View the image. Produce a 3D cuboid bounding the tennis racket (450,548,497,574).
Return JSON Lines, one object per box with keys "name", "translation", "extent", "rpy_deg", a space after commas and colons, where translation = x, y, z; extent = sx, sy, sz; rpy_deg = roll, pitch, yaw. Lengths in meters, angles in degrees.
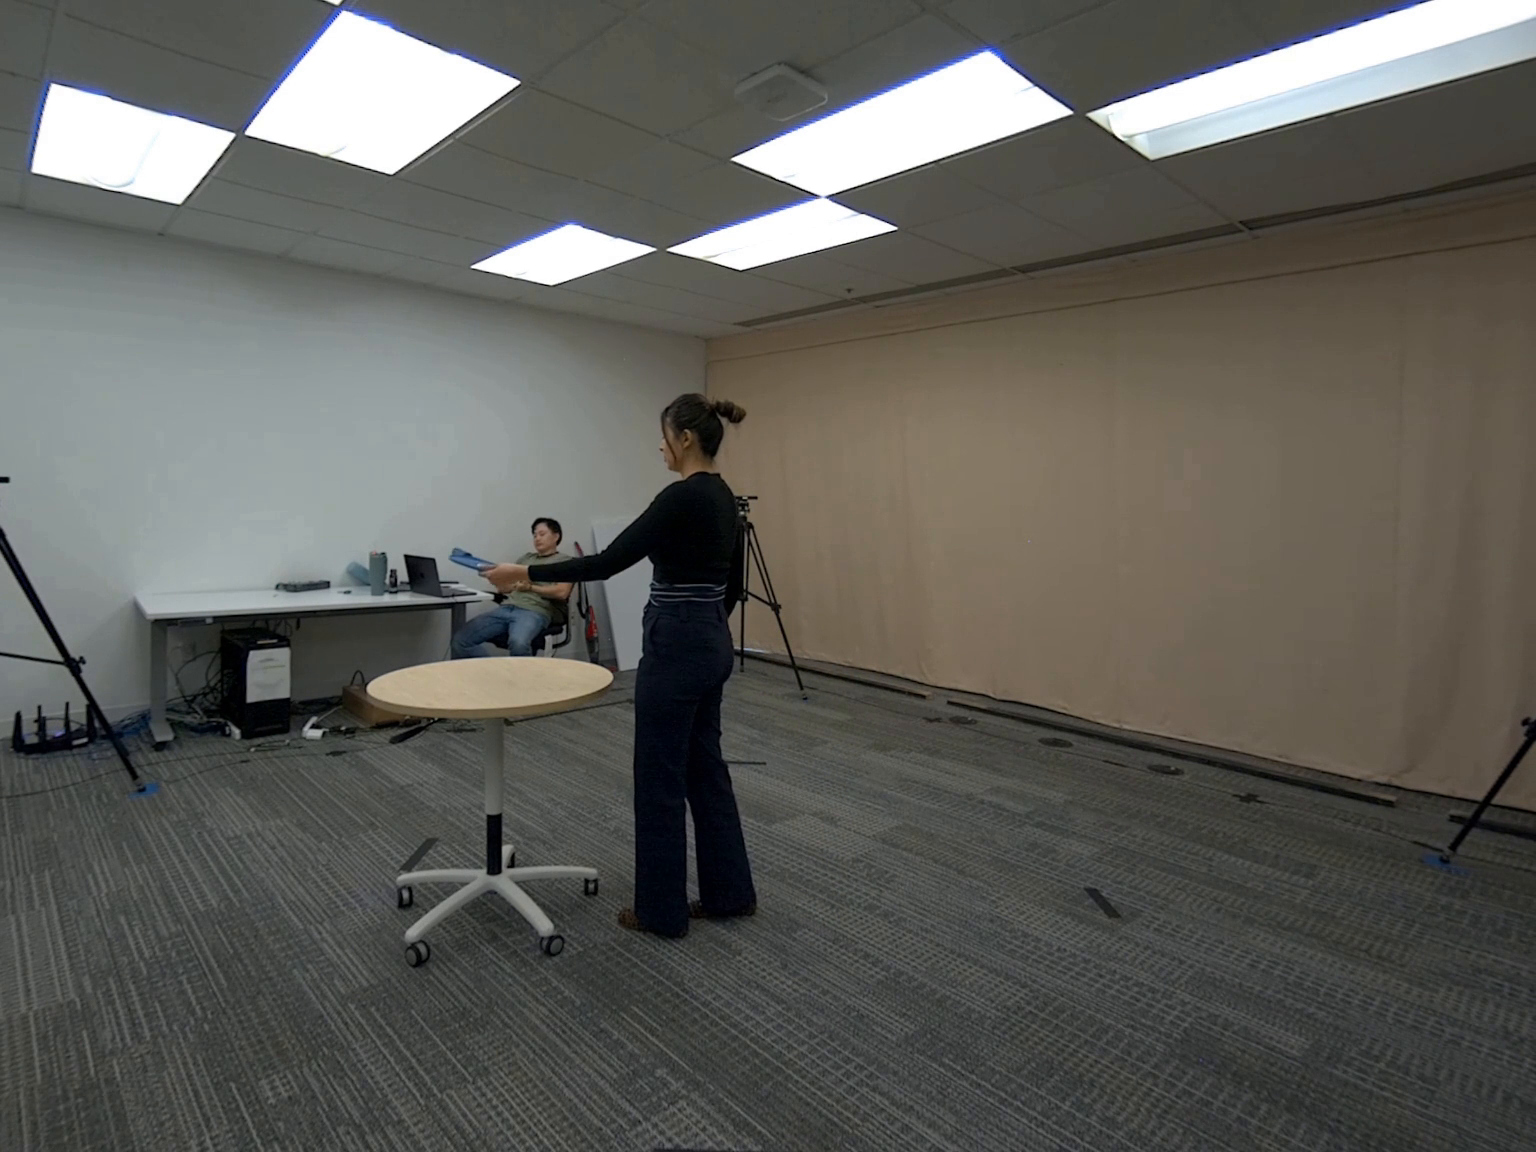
{"name": "tennis racket", "translation": [-0.945, -0.044, 2.693], "extent": [0.208, 0.032, 0.445], "rpy_deg": [11, 4, -36]}
